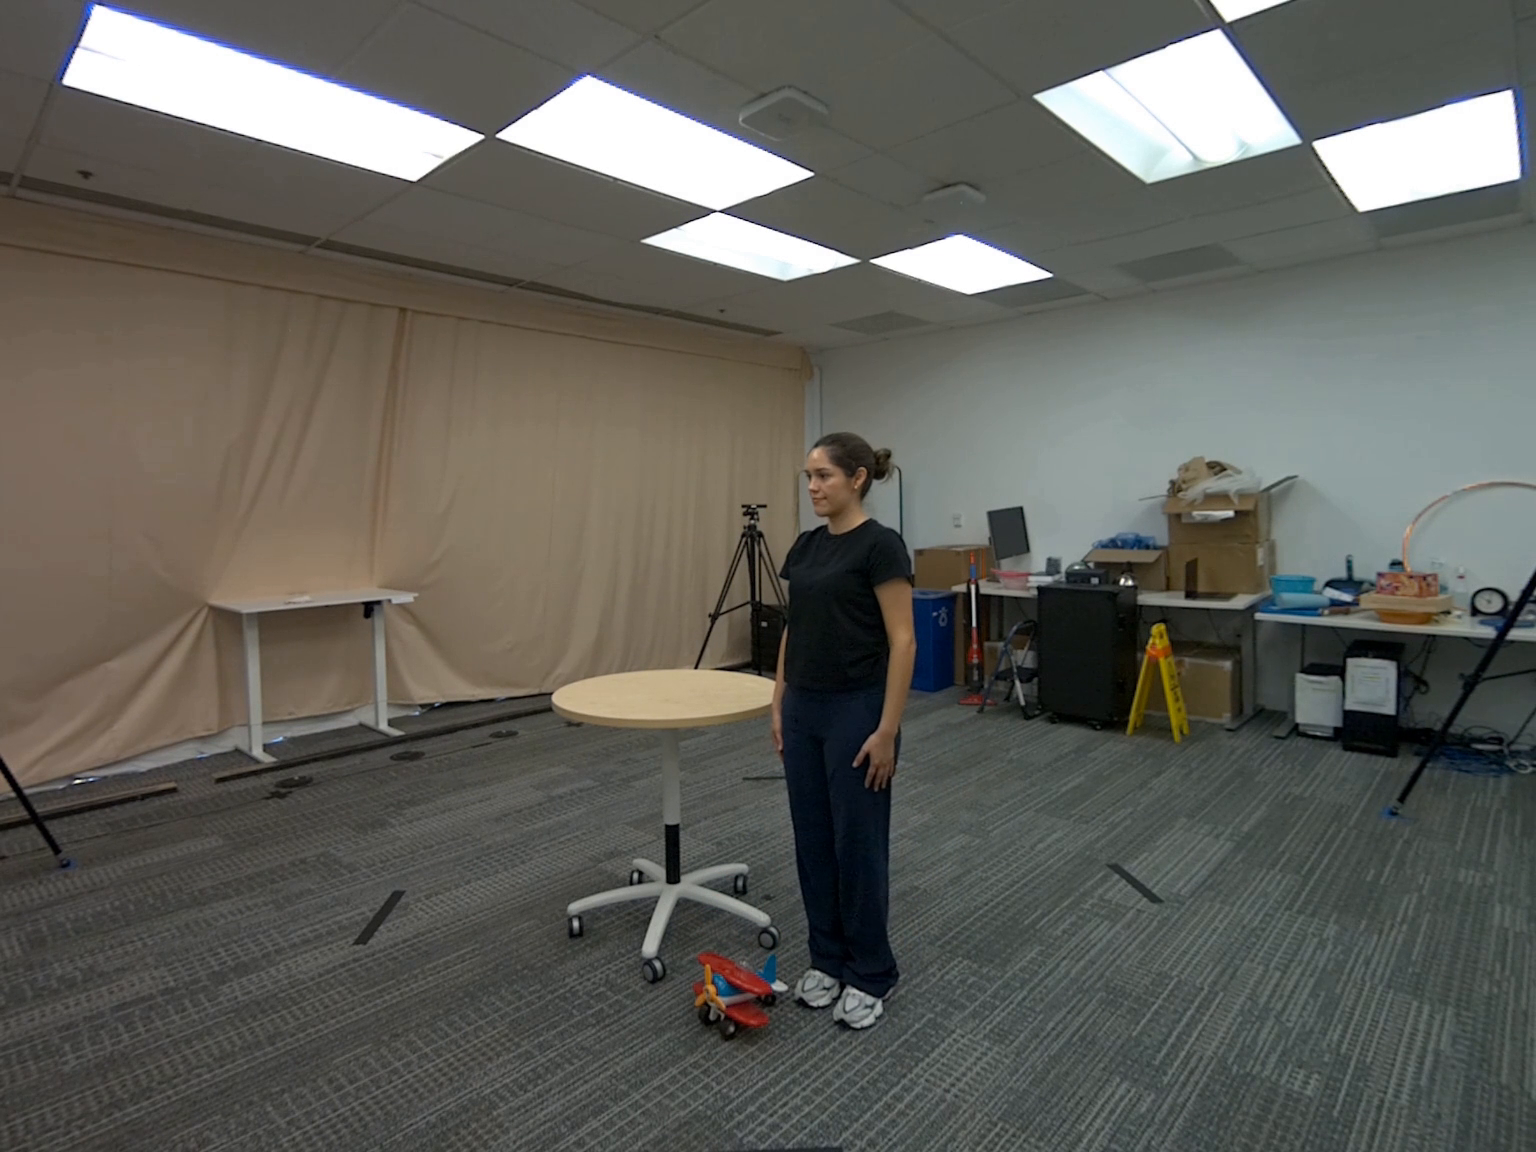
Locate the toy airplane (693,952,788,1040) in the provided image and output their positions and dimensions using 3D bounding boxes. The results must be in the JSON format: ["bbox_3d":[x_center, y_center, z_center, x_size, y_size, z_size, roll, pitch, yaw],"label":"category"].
[{"bbox_3d":[-0.060,1.132,2.298,0.256,0.156,0.255,1,6,18],"label":"toy airplane"}]
